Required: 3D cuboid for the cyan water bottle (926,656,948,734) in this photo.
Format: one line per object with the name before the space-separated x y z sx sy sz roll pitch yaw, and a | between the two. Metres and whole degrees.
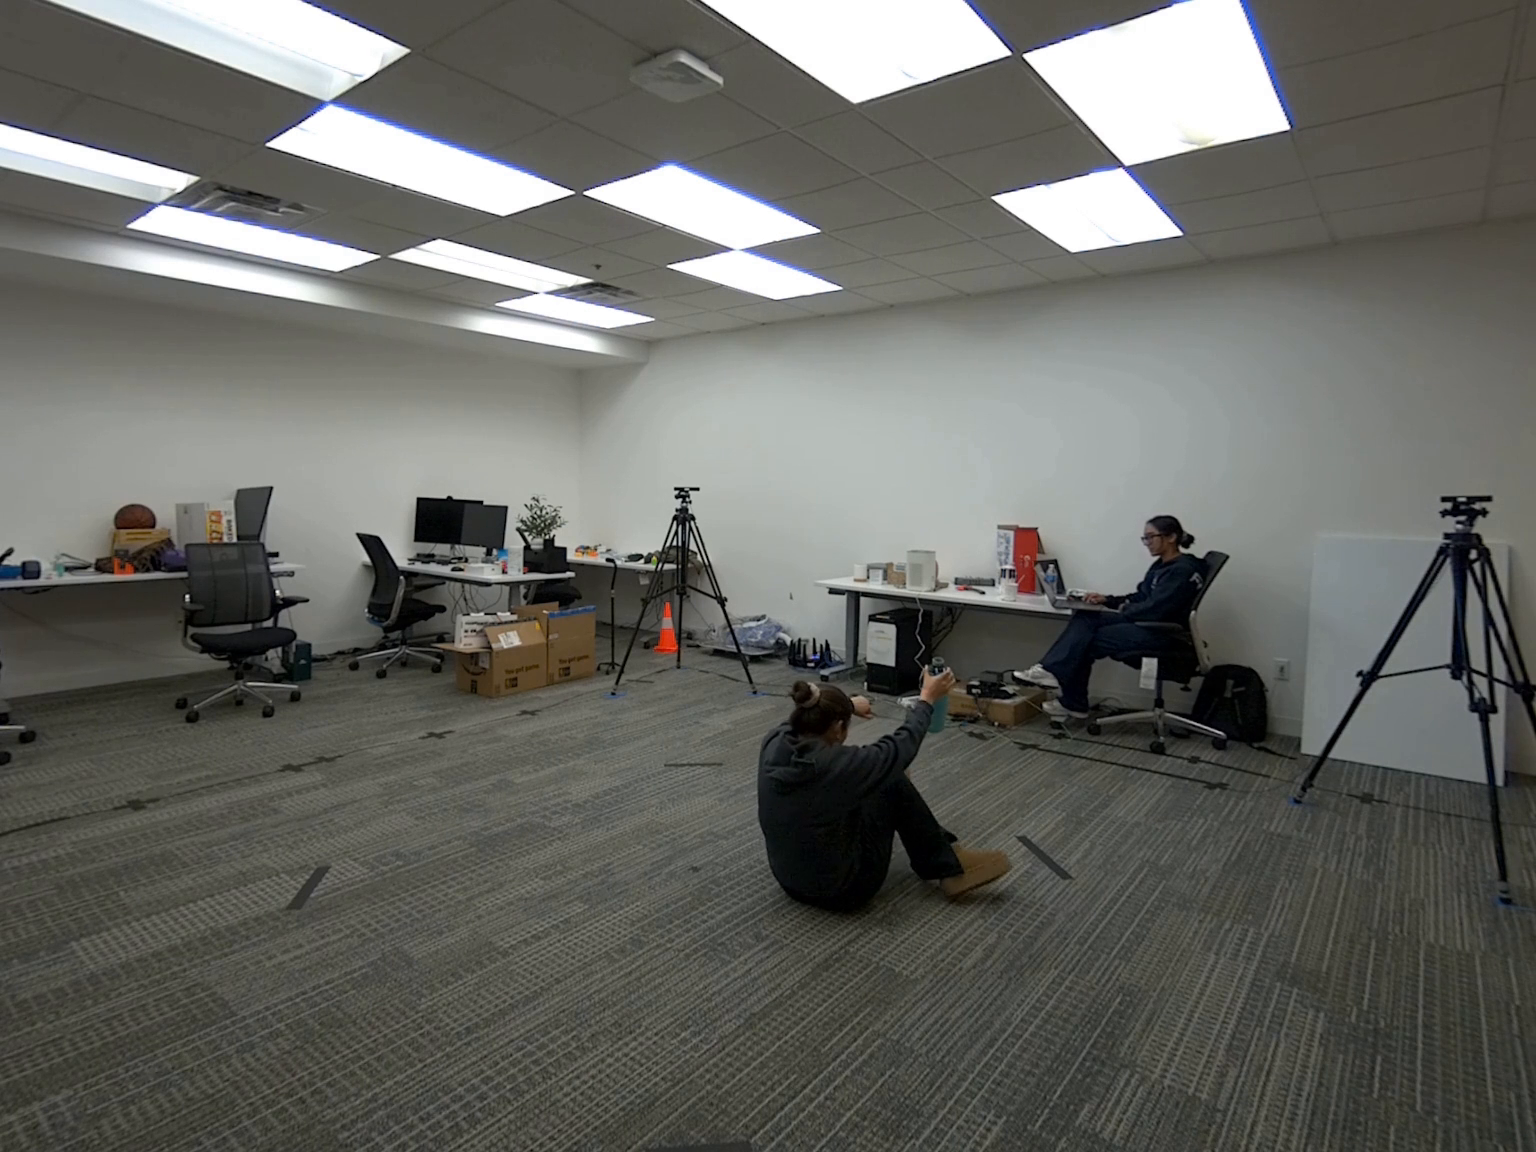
cyan water bottle | 0.611 0.434 3.095 0.092 0.277 0.094 0 24 -2
